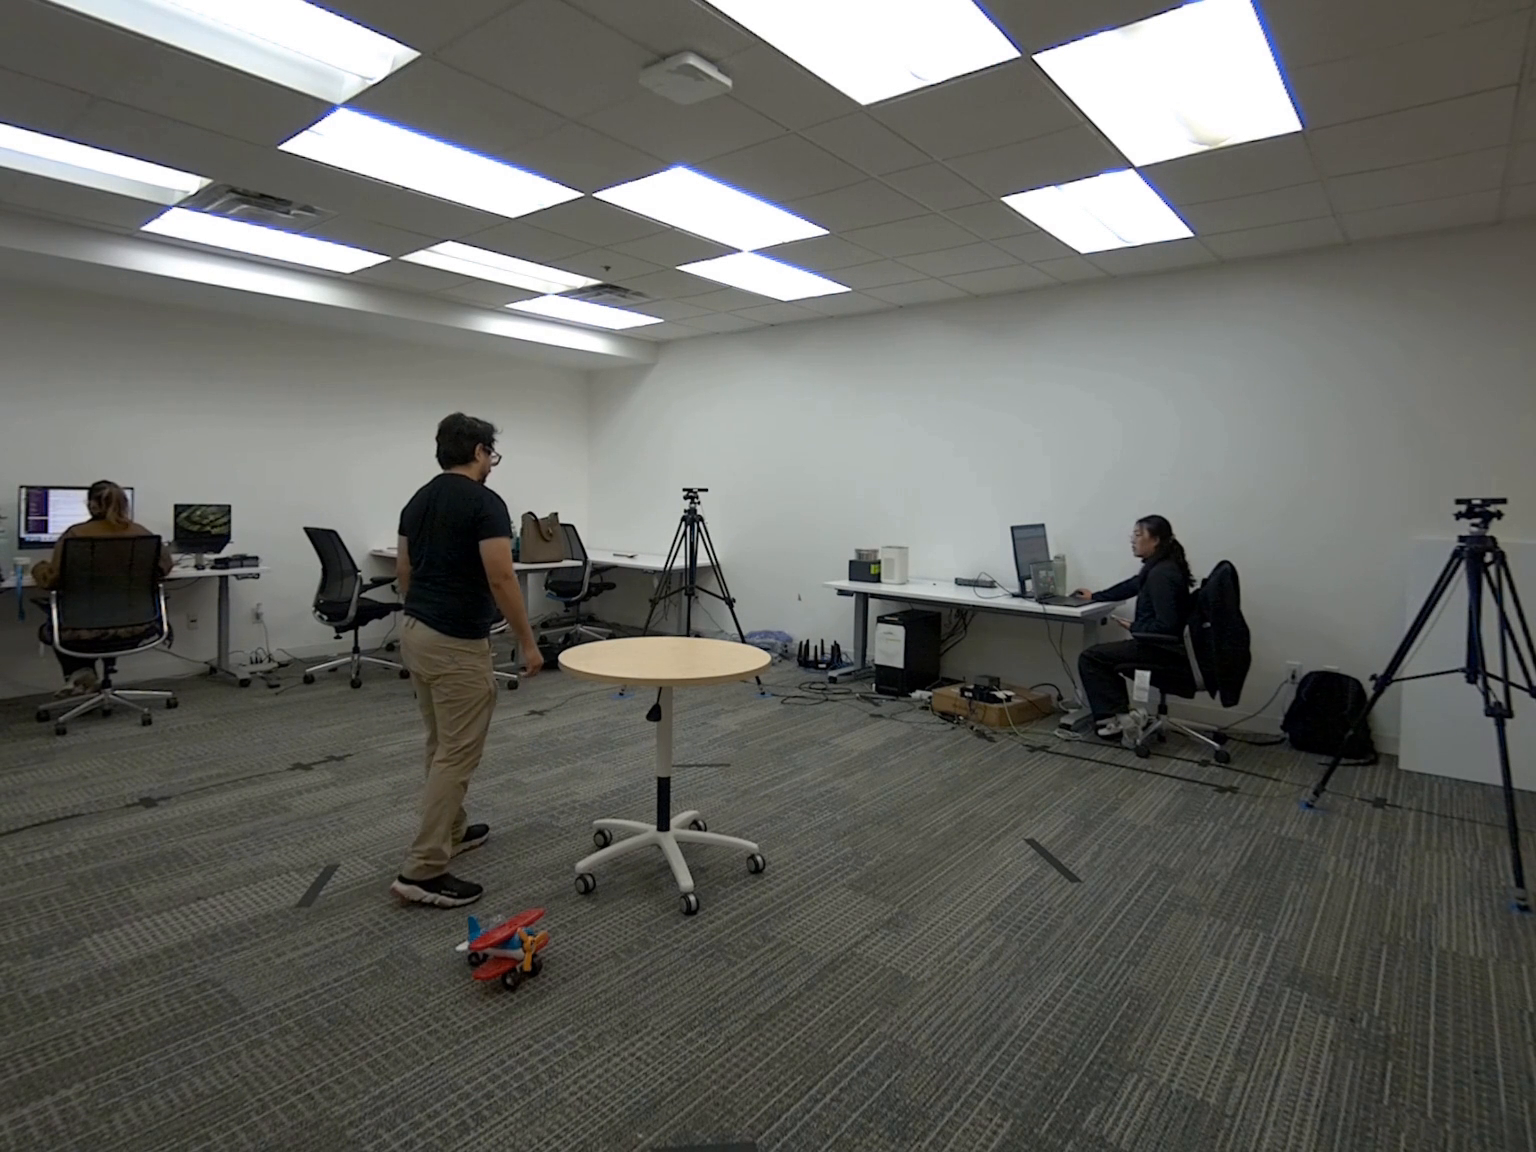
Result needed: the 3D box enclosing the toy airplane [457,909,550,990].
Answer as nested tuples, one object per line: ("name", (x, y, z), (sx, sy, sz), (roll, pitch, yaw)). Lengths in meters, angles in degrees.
("toy airplane", (-0.777, 1.057, 2.407), (0.260, 0.156, 0.251), (3, 5, 2))
